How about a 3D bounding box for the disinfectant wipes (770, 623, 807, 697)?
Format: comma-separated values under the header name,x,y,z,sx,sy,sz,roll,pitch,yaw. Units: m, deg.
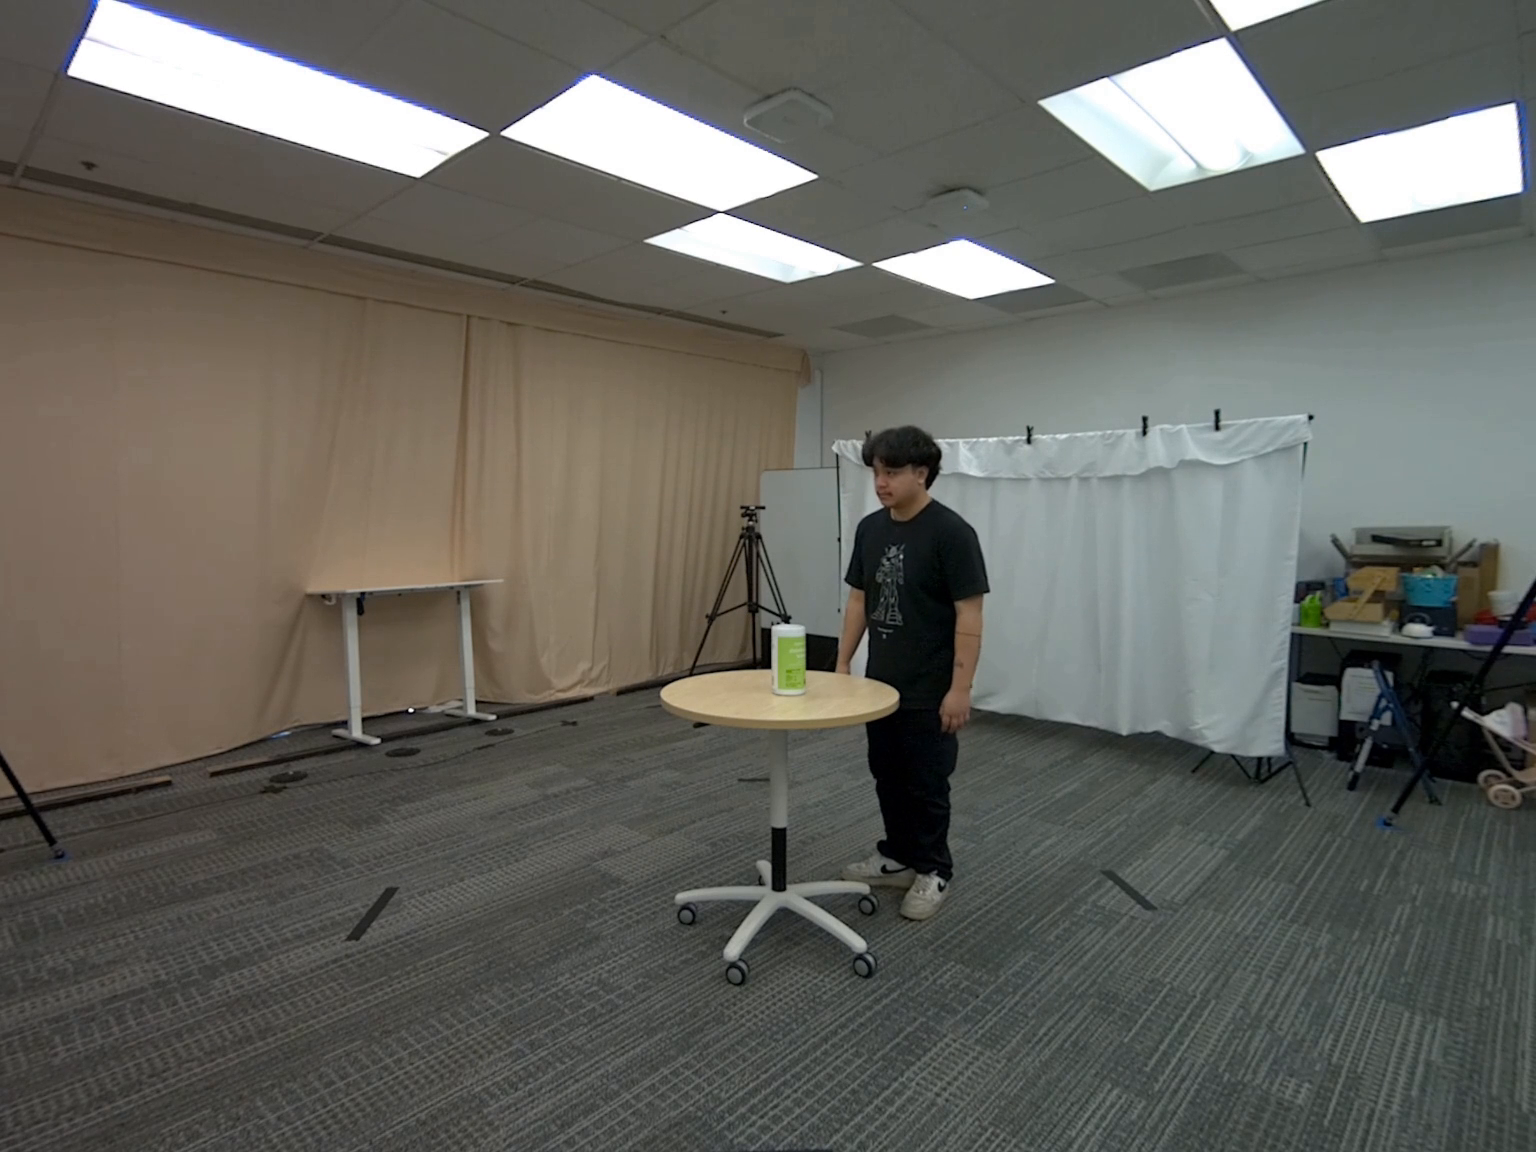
name,x,y,z,sx,sy,sz,roll,pitch,yaw
disinfectant wipes,0.072,0.272,2.702,0.118,0.217,0.118,0,4,-2
